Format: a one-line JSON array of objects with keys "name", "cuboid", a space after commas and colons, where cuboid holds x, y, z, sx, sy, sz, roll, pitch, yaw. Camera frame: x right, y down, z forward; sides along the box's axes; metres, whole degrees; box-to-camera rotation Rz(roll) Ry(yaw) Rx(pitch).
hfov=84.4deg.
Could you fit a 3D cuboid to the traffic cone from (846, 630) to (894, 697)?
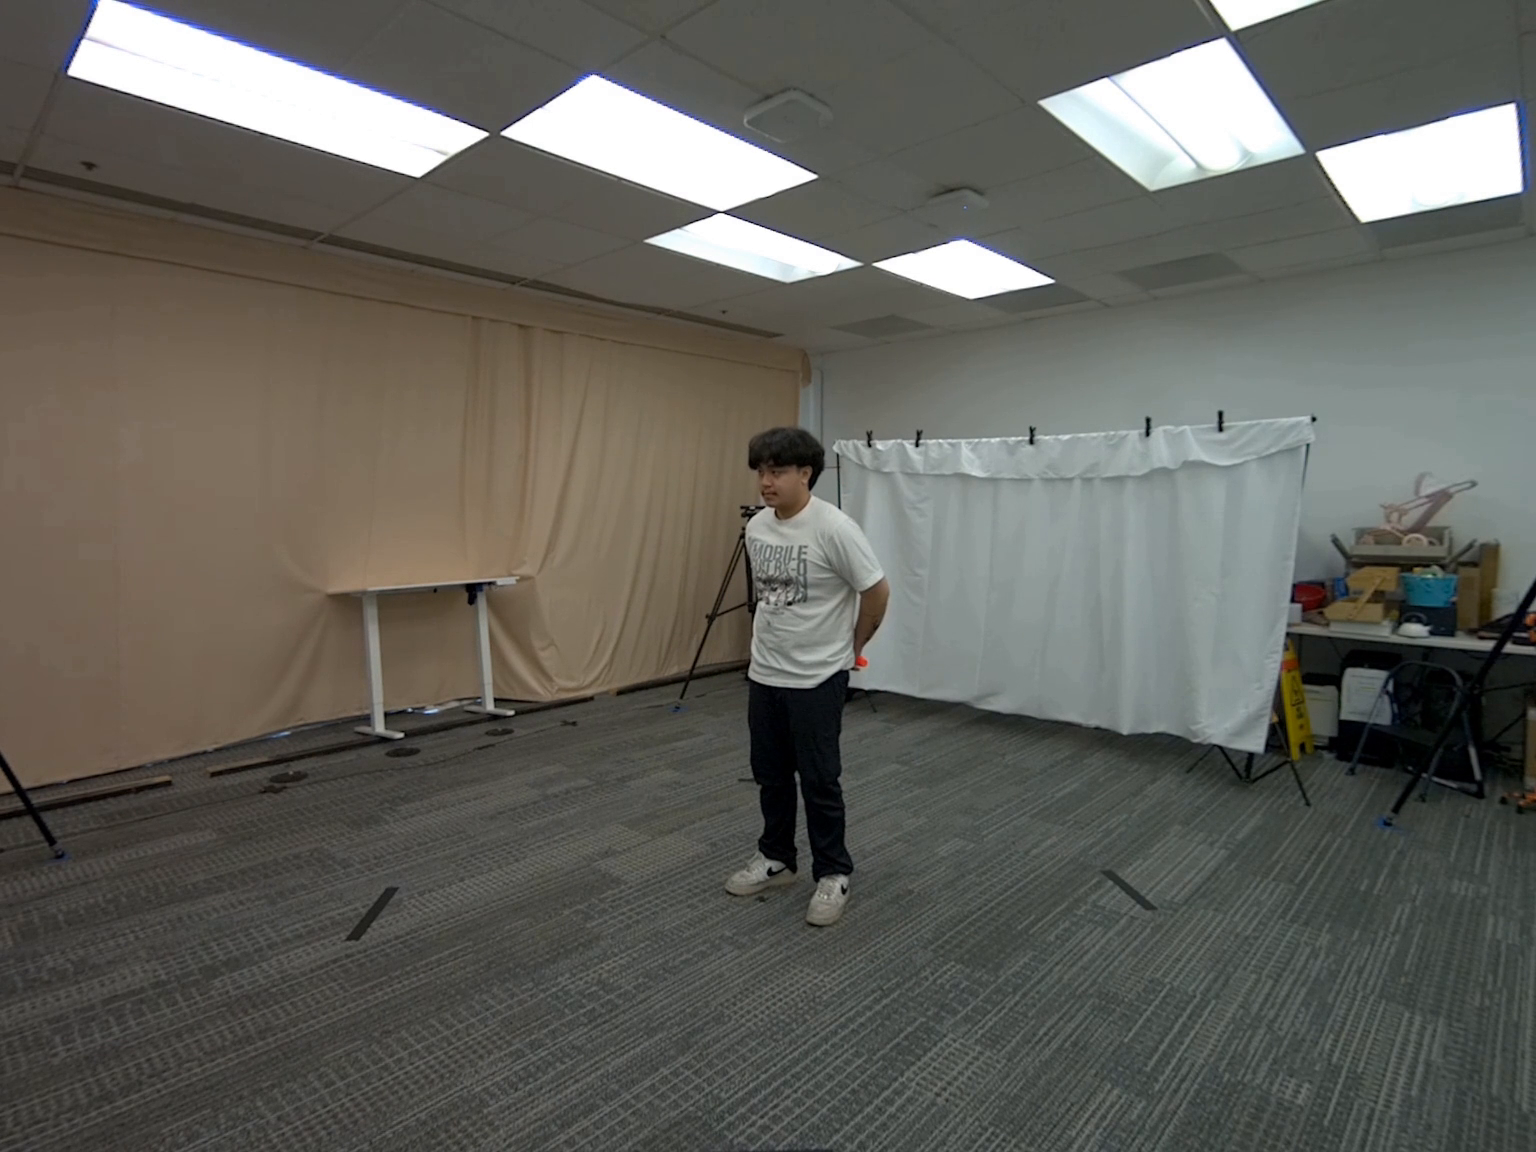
[{"name": "traffic cone", "cuboid": [0.265, 0.279, 3.154, 0.201, 0.202, 0.394, 1, 11, -21]}]
